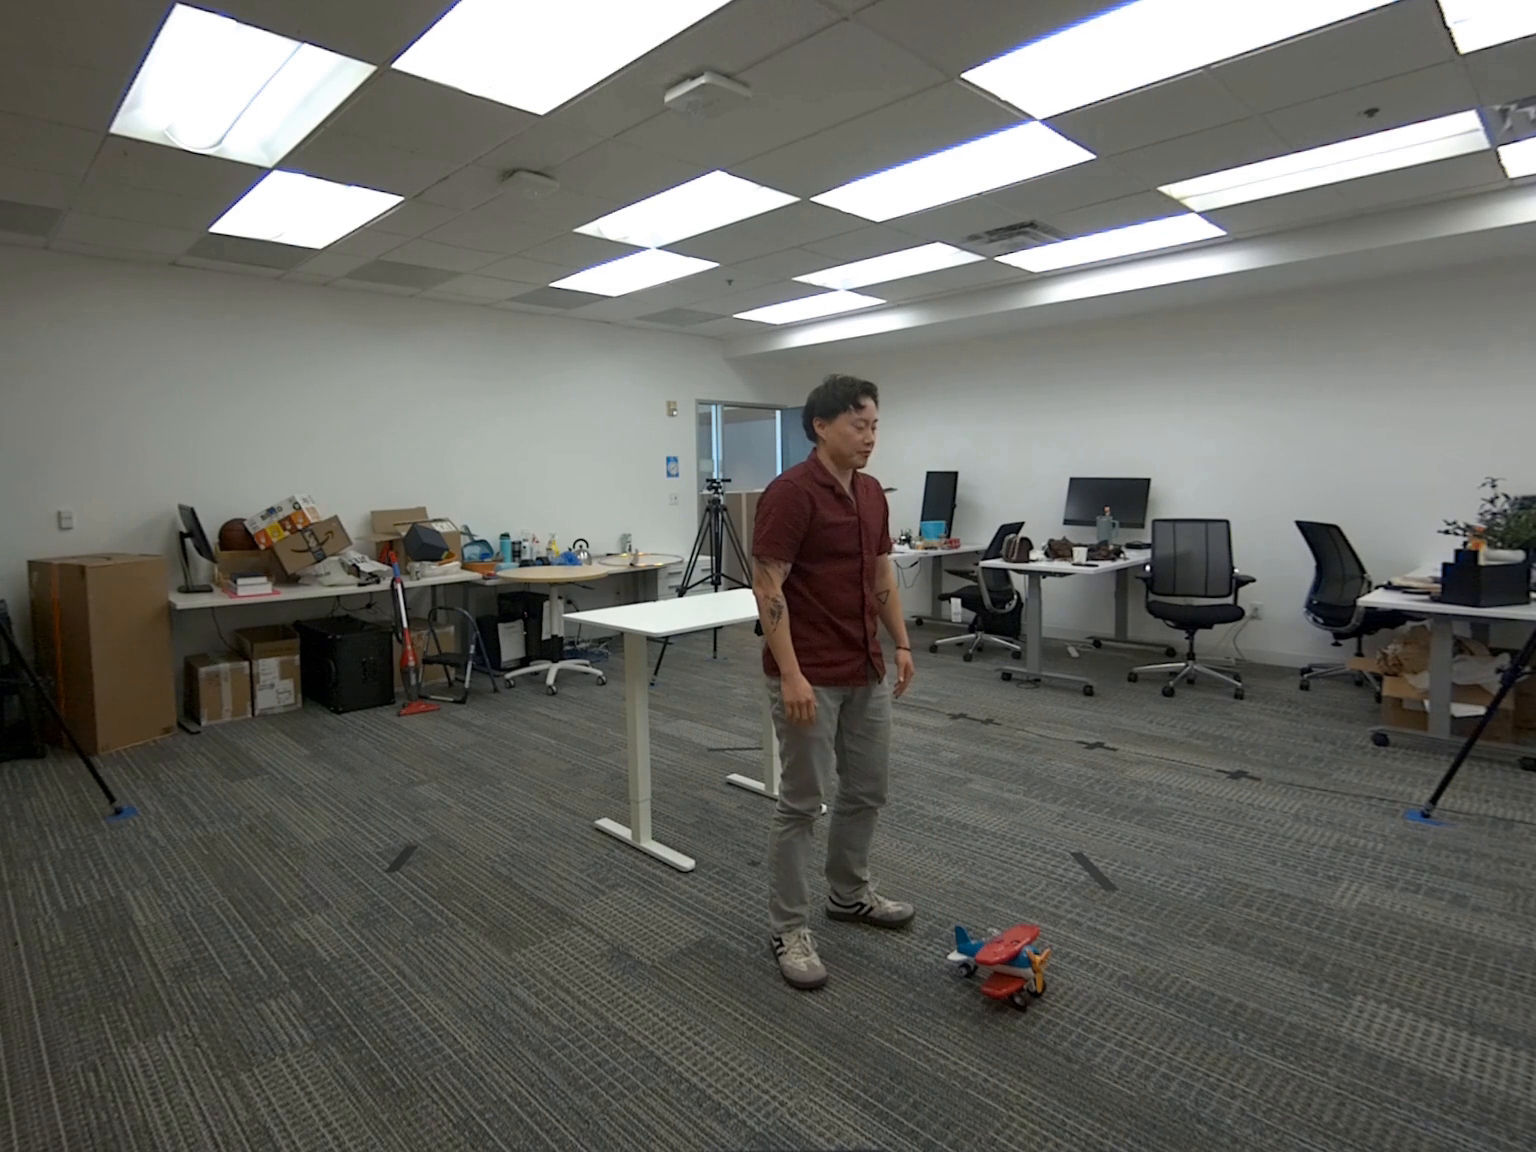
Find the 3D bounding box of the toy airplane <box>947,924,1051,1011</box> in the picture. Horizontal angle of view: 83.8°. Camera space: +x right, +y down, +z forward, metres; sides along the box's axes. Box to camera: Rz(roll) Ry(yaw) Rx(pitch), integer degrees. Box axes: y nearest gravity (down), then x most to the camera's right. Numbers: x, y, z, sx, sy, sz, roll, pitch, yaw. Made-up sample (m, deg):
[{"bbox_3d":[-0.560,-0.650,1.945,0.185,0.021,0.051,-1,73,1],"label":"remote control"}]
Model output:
[{"bbox_3d":[0.625,1.050,2.305,0.264,0.156,0.248,2,6,17],"label":"toy airplane"}]
